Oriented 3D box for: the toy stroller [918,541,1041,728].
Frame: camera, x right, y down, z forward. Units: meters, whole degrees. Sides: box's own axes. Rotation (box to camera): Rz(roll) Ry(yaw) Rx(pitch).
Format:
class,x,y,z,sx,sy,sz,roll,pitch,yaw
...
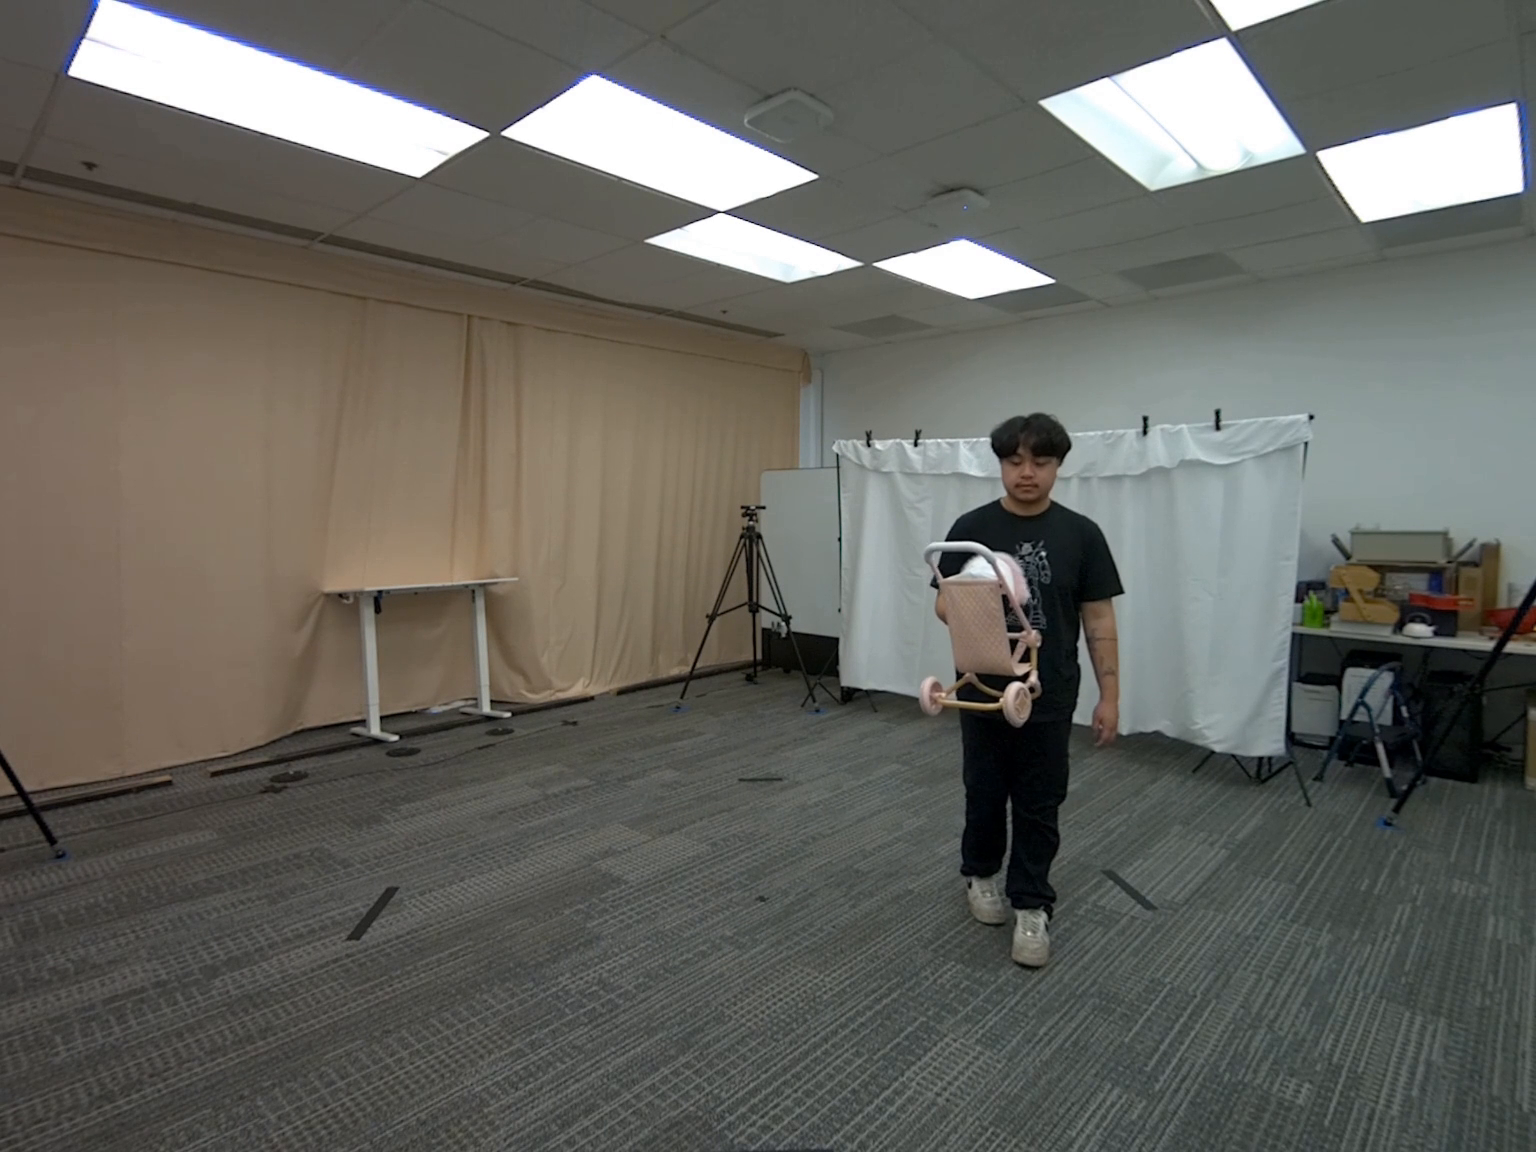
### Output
class,x,y,z,sx,sy,sz,roll,pitch,yaw
toy stroller,0.620,0.175,2.331,0.331,0.536,0.290,-1,-2,-41
